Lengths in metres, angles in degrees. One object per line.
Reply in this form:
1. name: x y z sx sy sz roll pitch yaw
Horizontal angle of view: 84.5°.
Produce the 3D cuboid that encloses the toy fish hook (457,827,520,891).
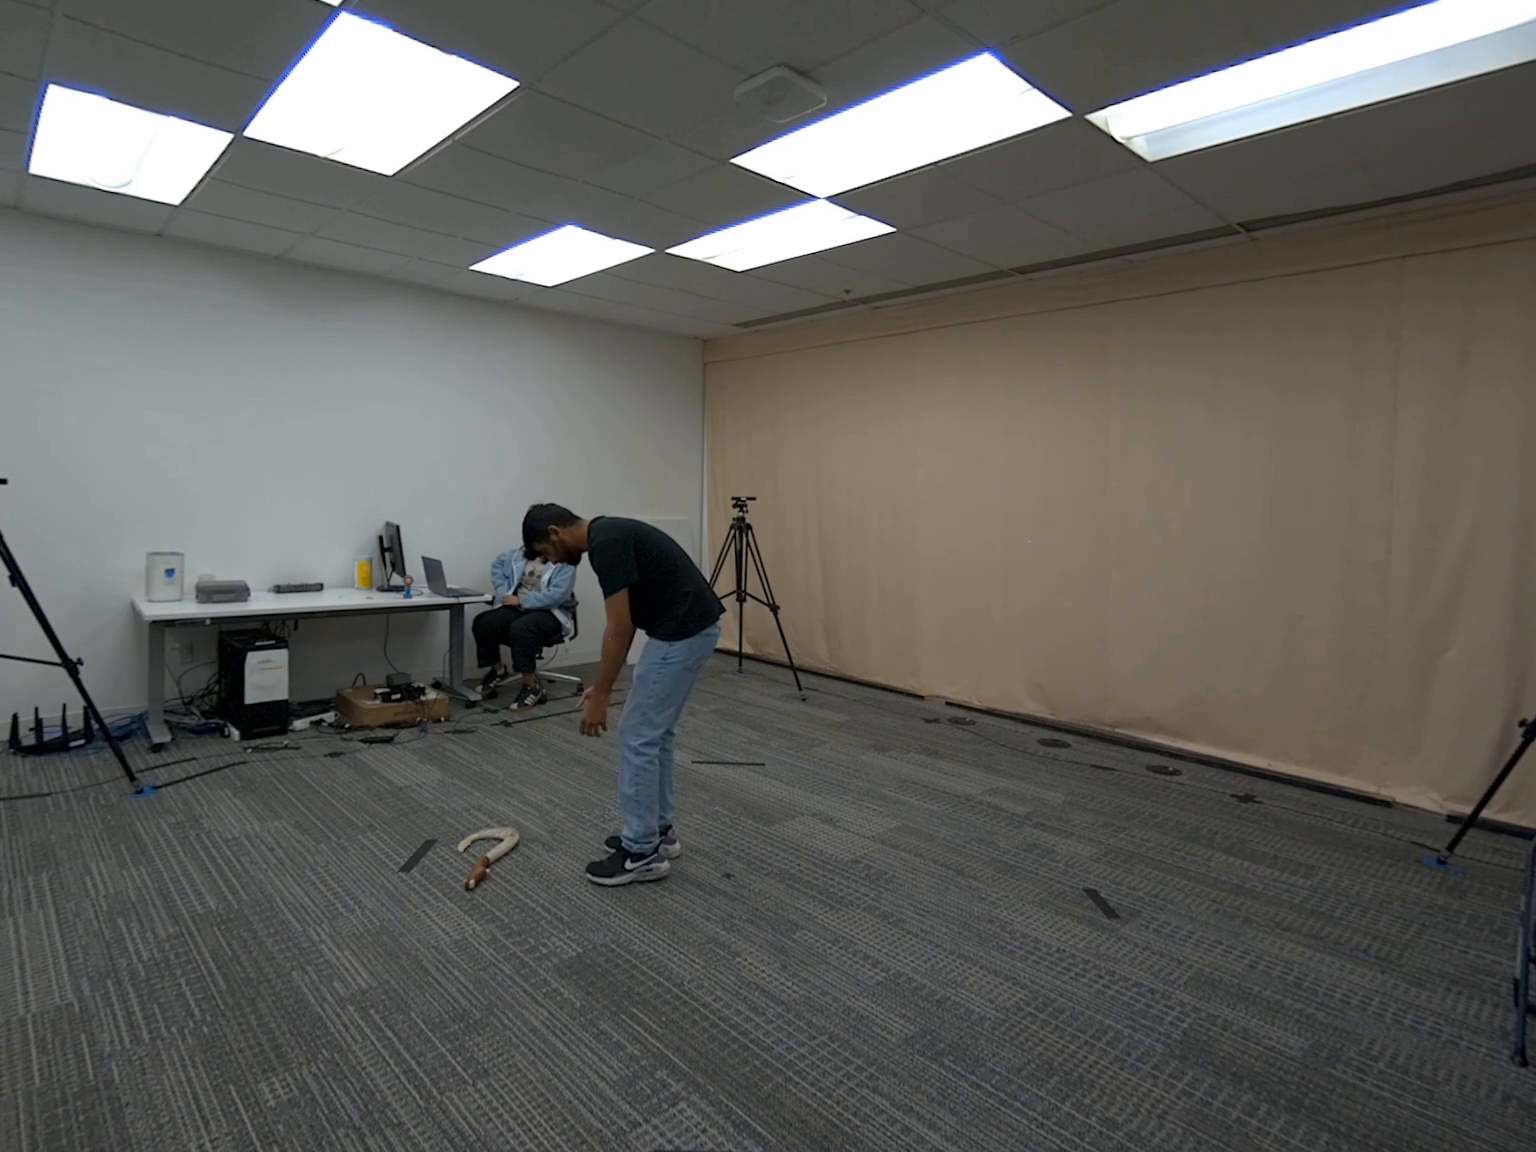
1. toy fish hook: -1.101 1.063 3.176 0.225 0.048 0.507 -6 4 0
